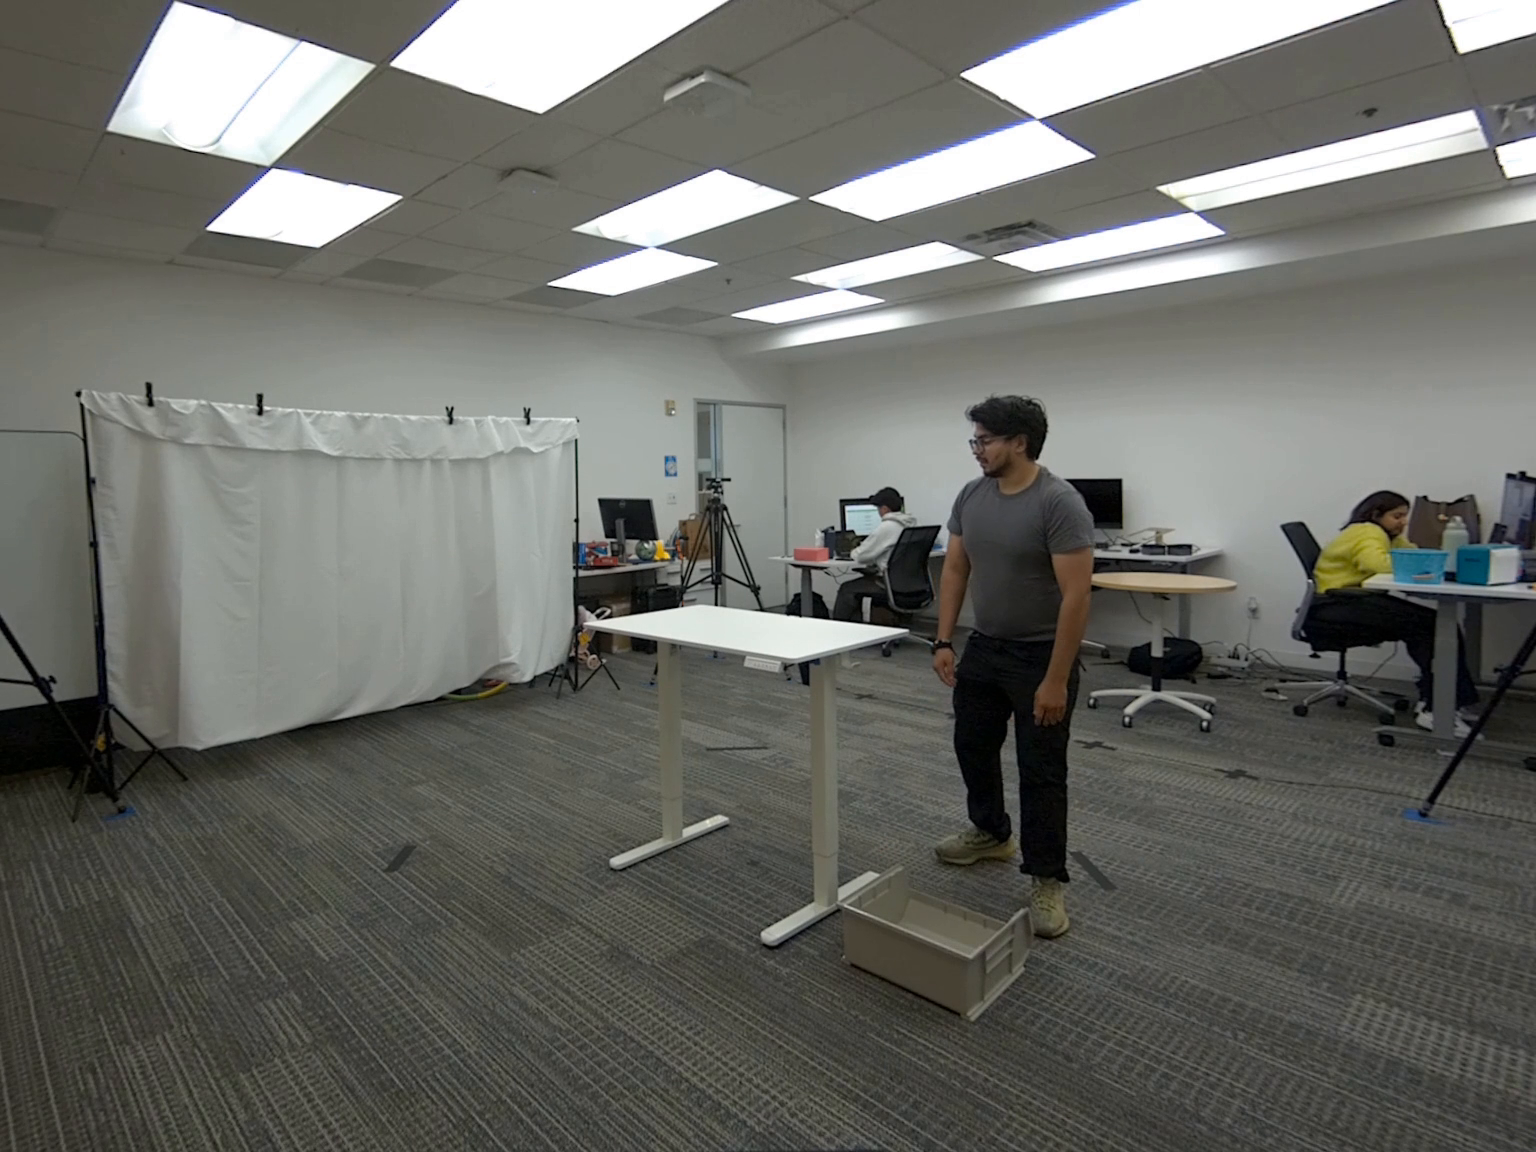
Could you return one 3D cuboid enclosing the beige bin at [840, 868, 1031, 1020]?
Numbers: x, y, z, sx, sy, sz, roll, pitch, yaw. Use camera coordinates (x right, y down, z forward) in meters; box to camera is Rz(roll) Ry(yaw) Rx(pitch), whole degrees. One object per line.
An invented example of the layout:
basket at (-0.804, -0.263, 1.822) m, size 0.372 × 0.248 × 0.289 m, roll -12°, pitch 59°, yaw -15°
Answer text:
beige bin at (0.482, 1.024, 2.441) m, size 0.435 × 0.188 × 0.368 m, roll 5°, pitch 10°, yaw 42°
